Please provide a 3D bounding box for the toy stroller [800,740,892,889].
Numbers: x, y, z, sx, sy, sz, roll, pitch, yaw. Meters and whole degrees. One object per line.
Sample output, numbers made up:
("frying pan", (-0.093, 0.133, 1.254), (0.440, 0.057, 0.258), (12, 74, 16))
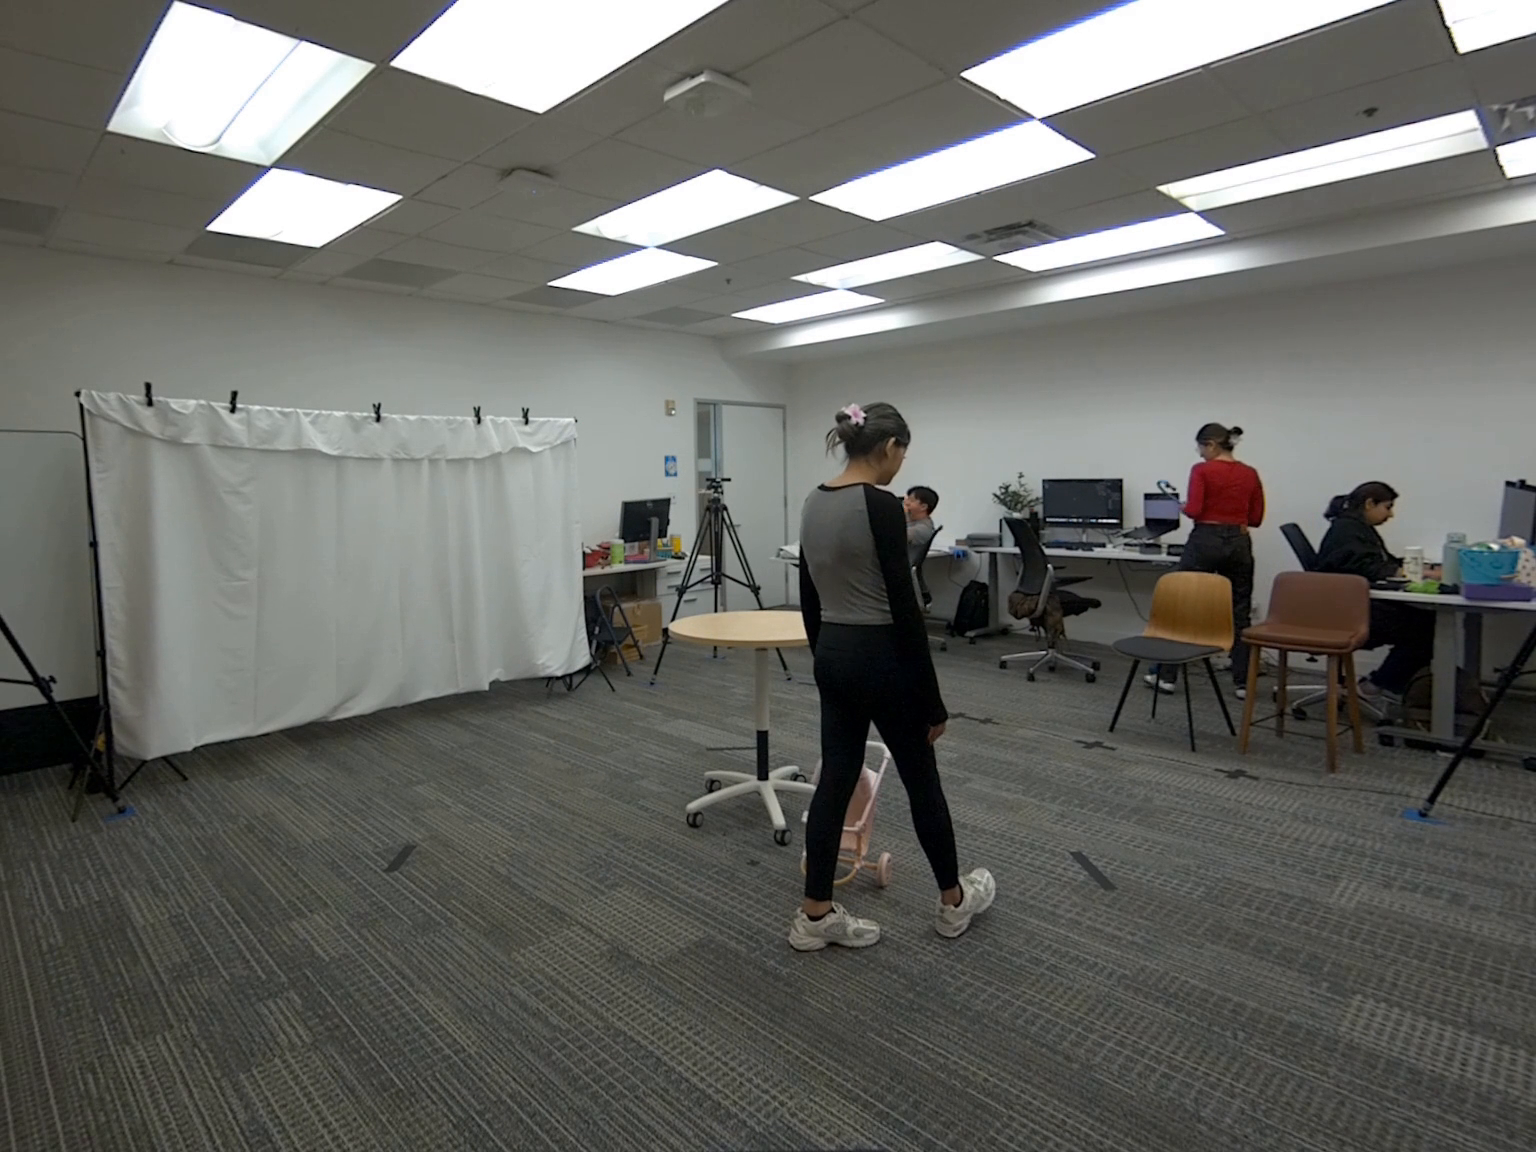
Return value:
("toy stroller", (0.254, 0.831, 2.916), (0.289, 0.539, 0.329), (0, -11, 34))
